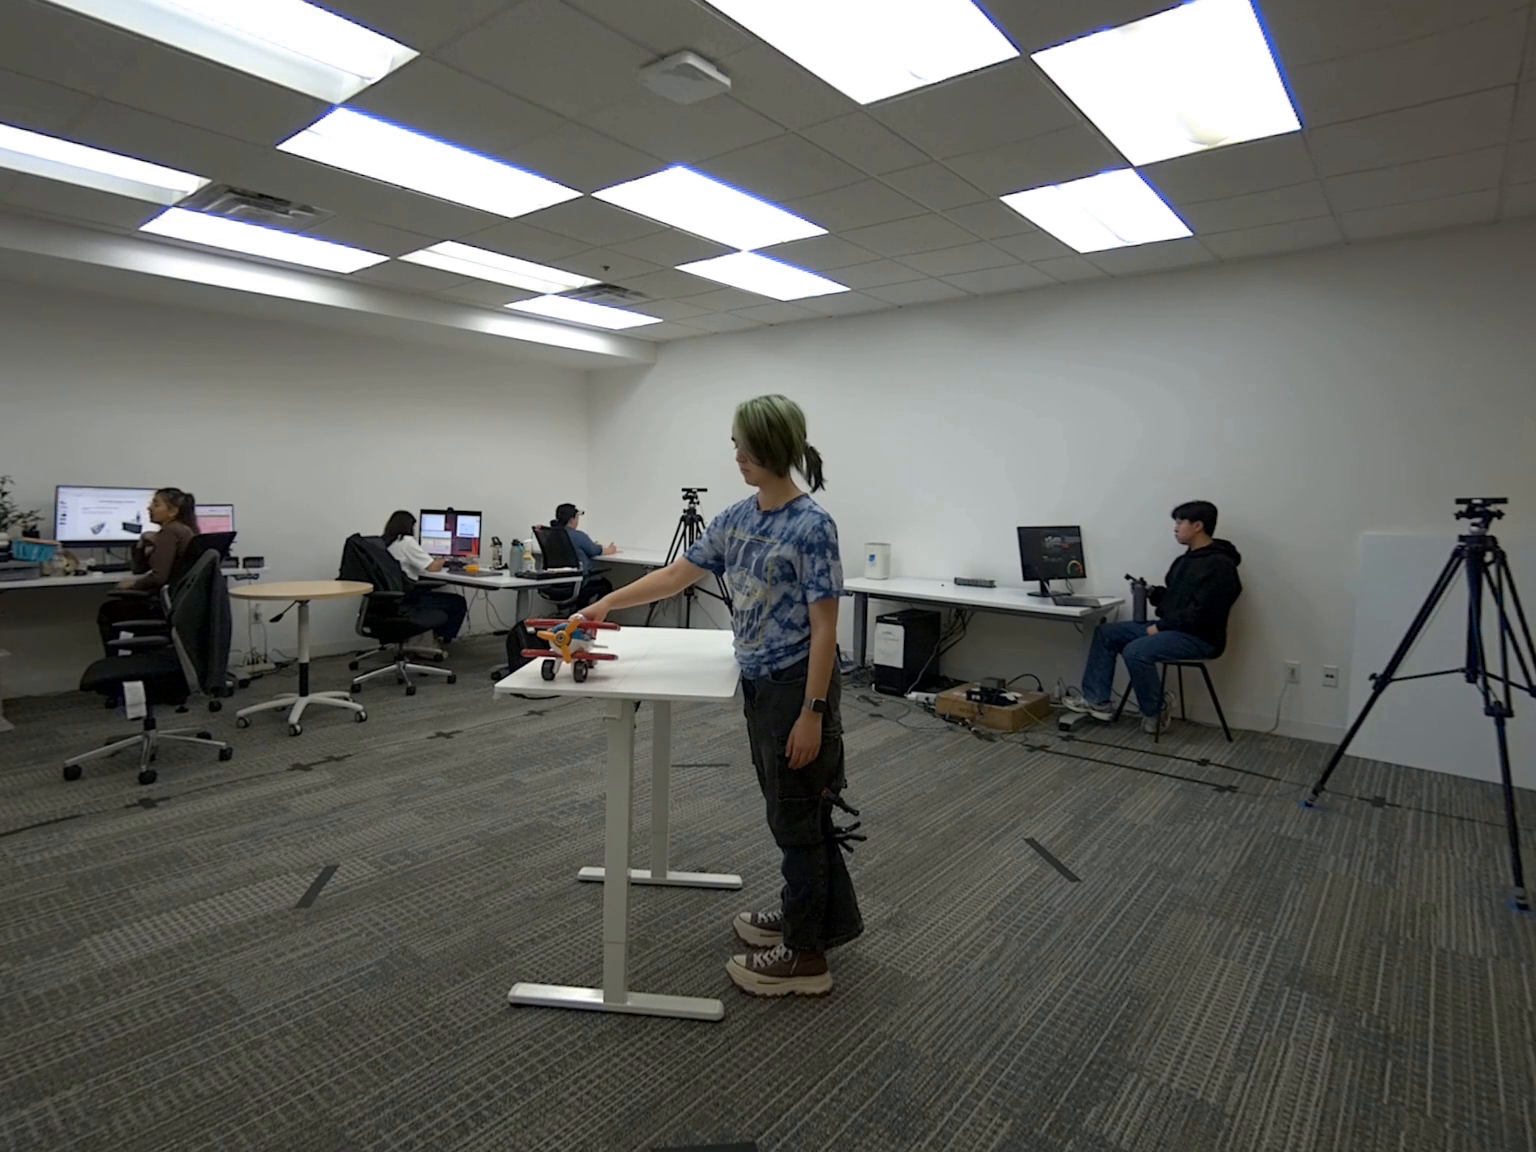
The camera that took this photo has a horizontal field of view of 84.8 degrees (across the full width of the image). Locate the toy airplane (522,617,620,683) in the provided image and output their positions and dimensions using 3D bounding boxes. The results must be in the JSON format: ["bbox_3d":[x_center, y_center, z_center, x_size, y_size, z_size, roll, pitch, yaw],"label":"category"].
[{"bbox_3d":[-0.547,0.185,2.286,0.246,0.155,0.266,-1,7,-22],"label":"toy airplane"}]
